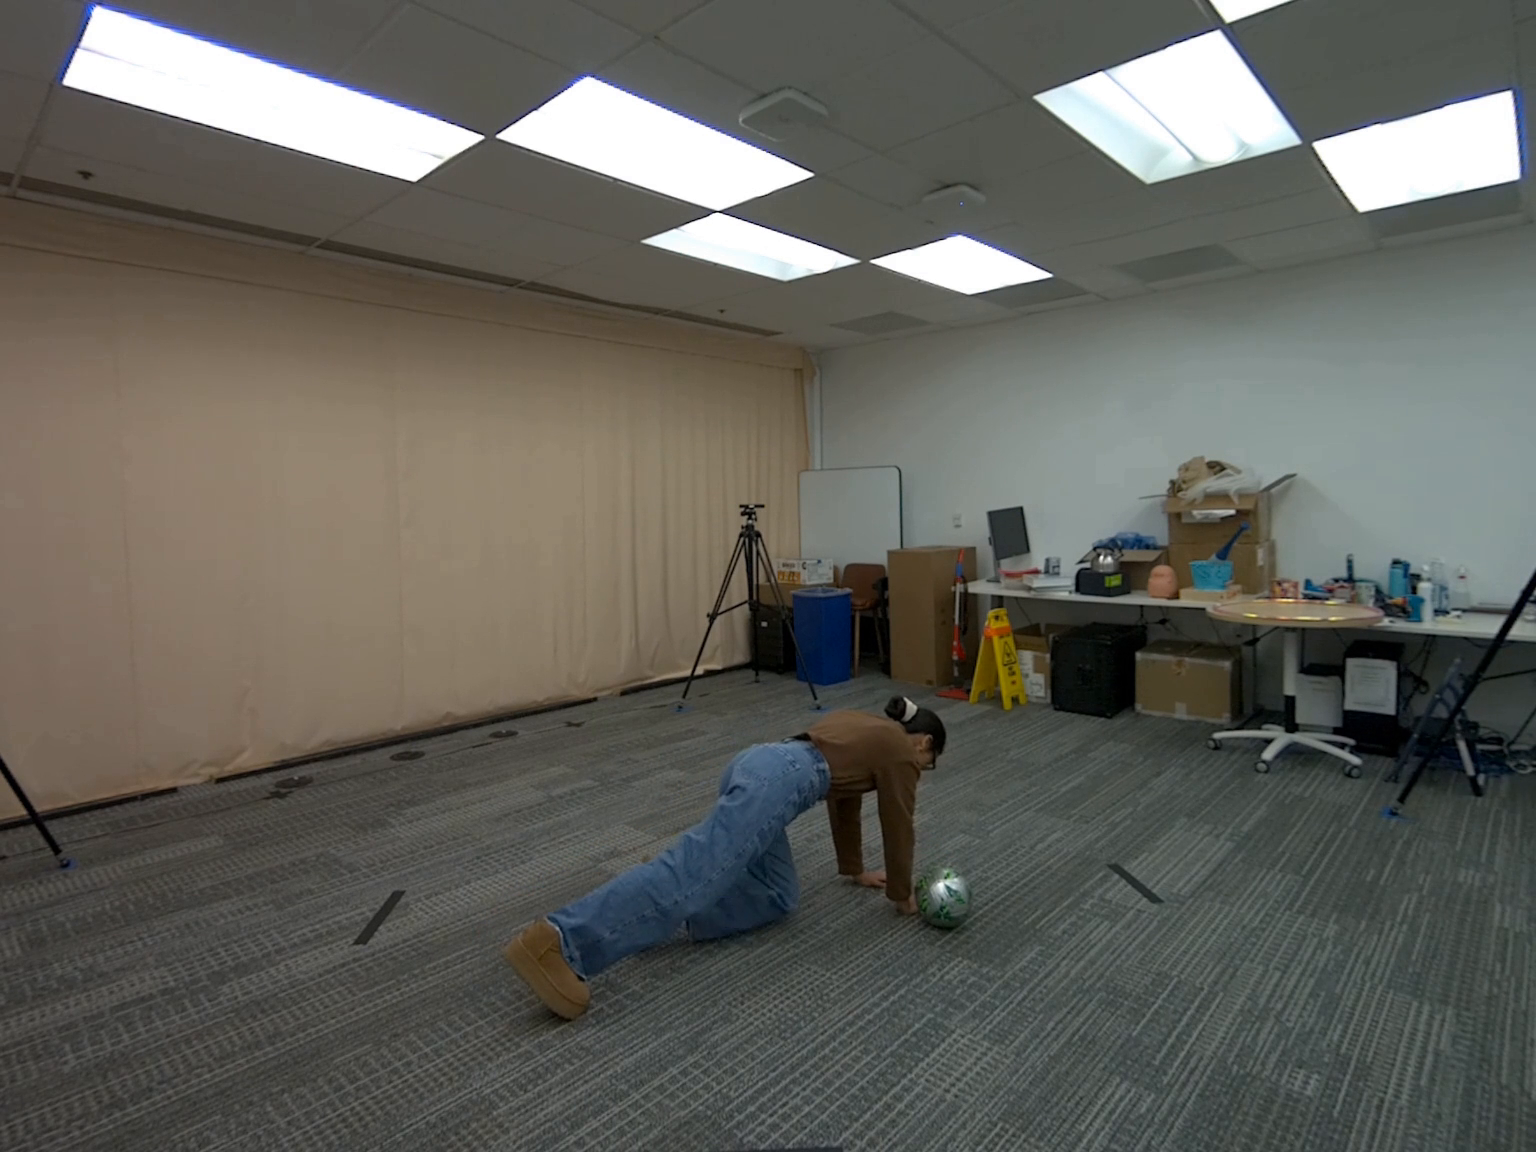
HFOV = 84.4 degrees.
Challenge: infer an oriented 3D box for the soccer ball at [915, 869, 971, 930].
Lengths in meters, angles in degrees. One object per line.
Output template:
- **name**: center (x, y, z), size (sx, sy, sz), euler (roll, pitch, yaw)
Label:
- **soccer ball**: center (0.583, 1.058, 2.754), size (0.187, 0.187, 0.188), euler (-1, 4, -2)
